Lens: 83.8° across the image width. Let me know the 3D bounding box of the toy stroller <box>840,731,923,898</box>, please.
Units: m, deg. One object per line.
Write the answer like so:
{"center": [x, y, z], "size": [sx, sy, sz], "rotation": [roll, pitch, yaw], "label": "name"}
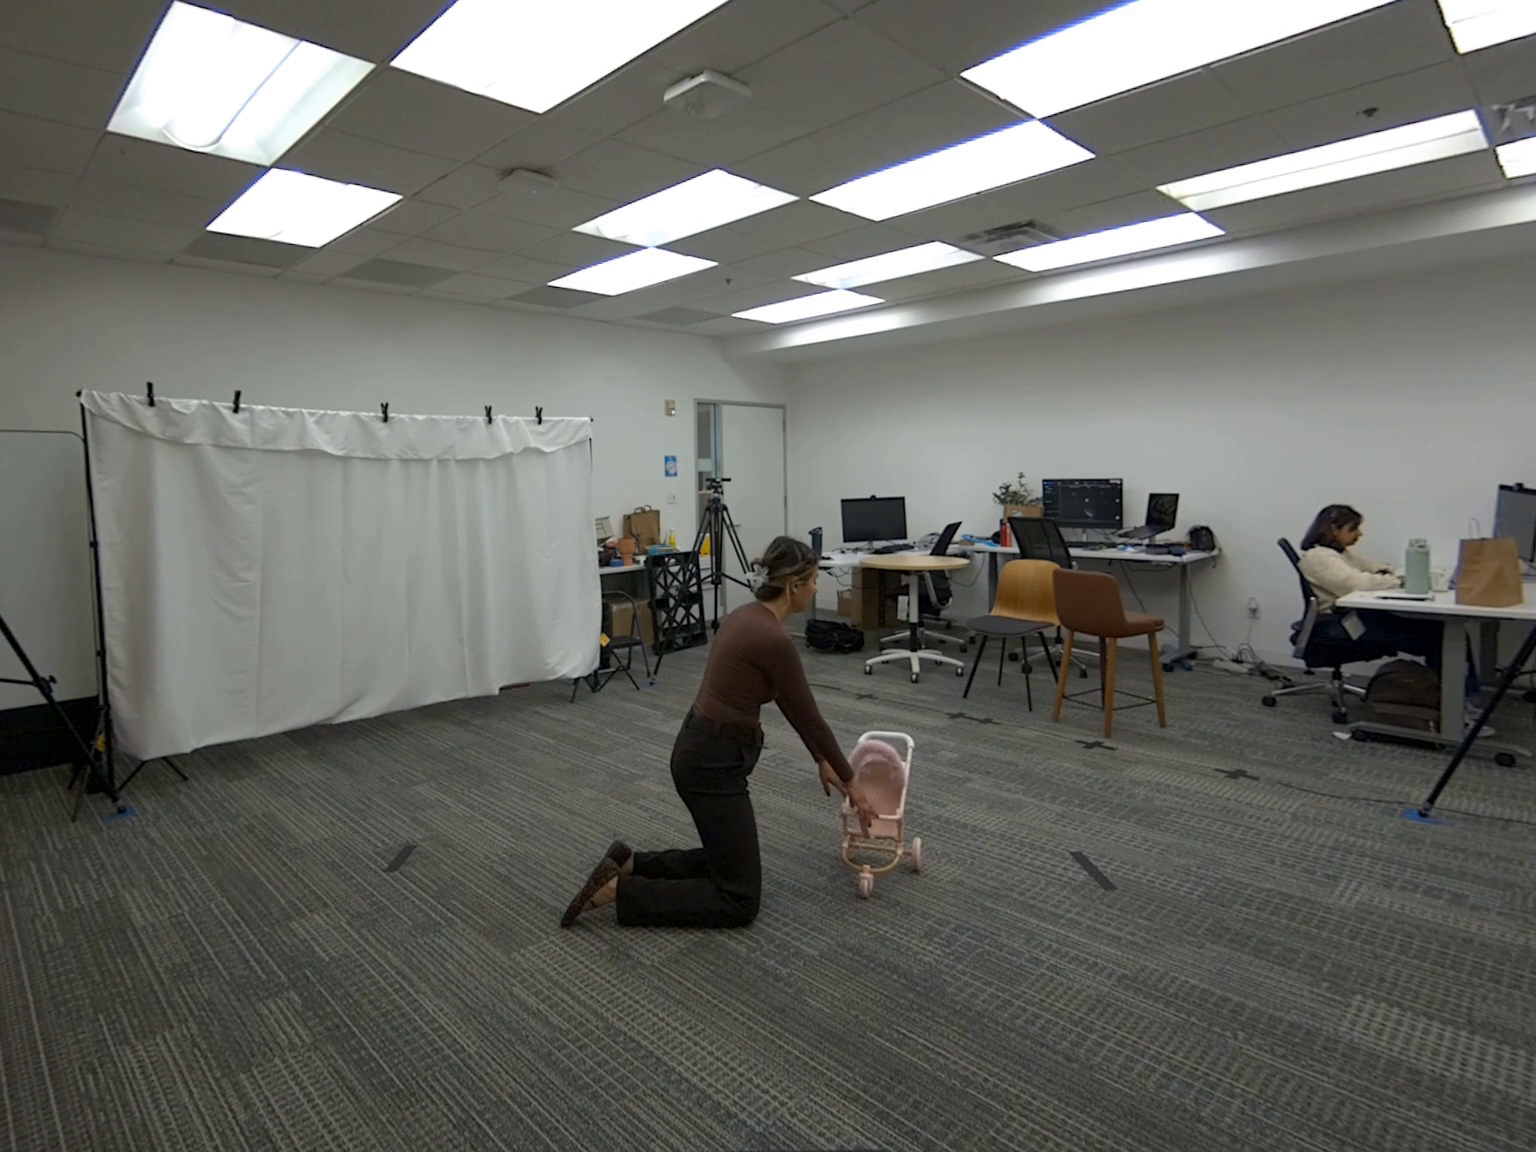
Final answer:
{"center": [0.377, 0.817, 3.000], "size": [0.288, 0.540, 0.331], "rotation": [-1, -11, 25], "label": "toy stroller"}
